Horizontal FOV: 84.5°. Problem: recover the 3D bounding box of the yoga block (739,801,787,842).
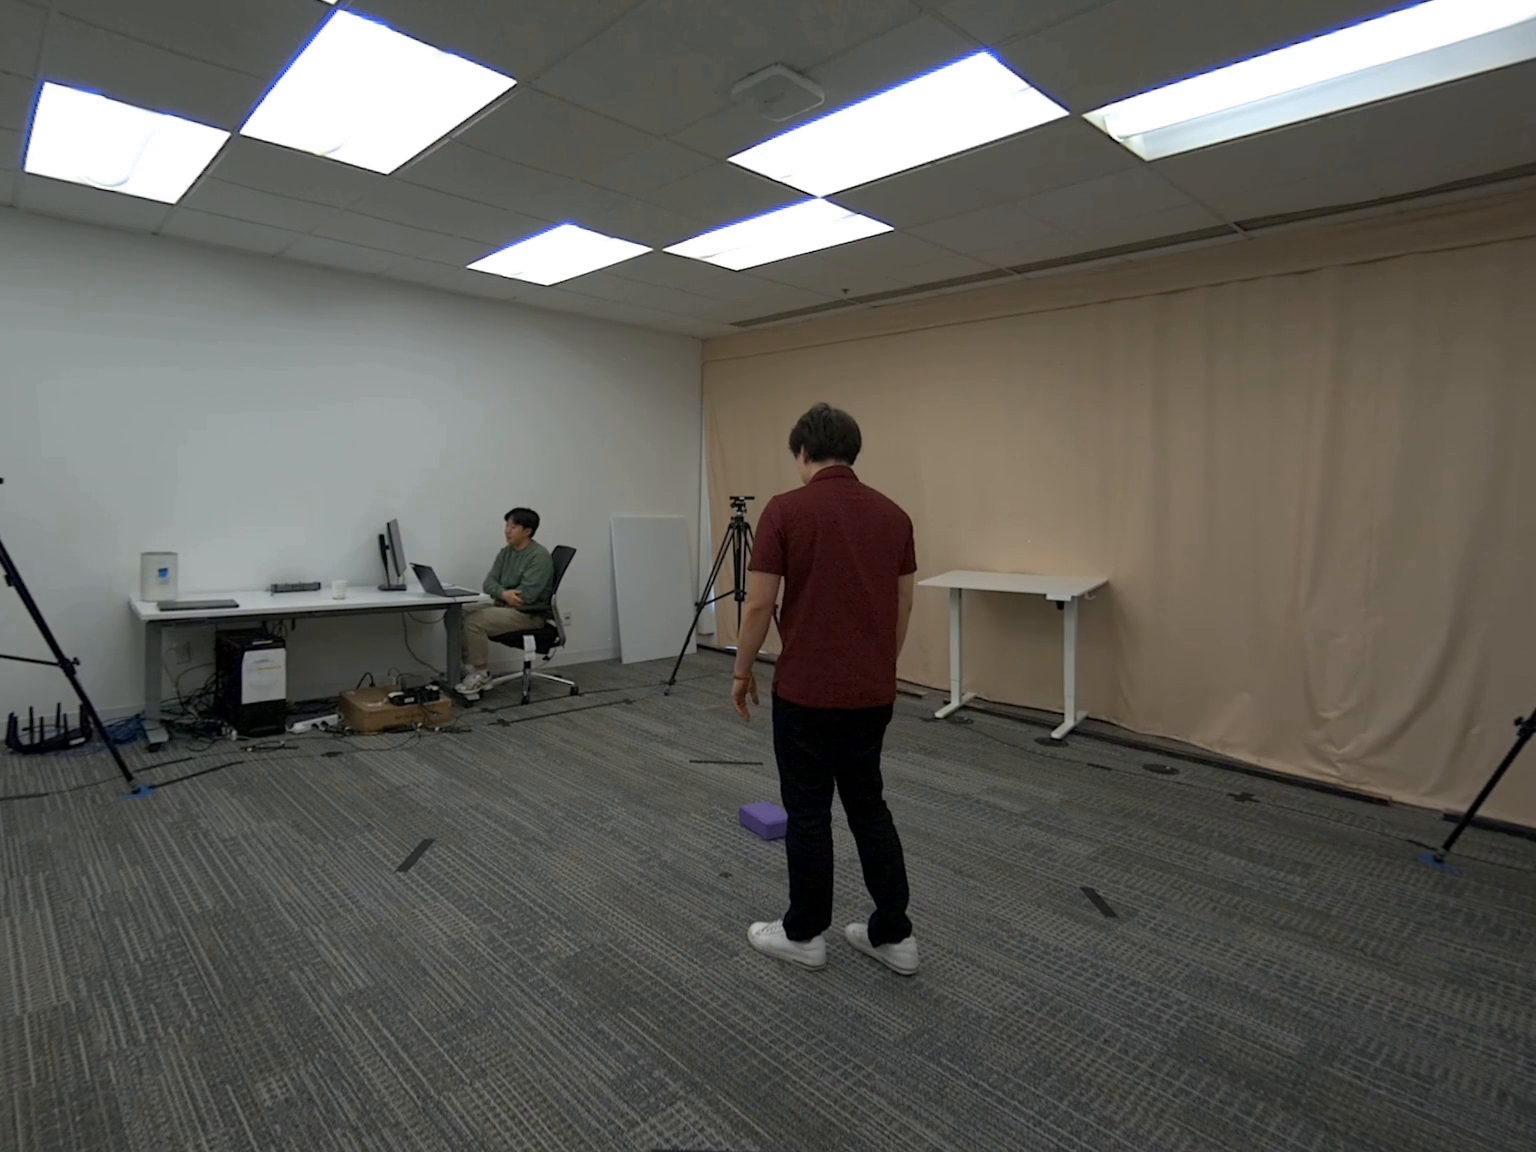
[{"bbox_3d":[-0.013,1.029,3.551,0.146,0.076,0.235,-1,5,-31],"label":"yoga block"}]
